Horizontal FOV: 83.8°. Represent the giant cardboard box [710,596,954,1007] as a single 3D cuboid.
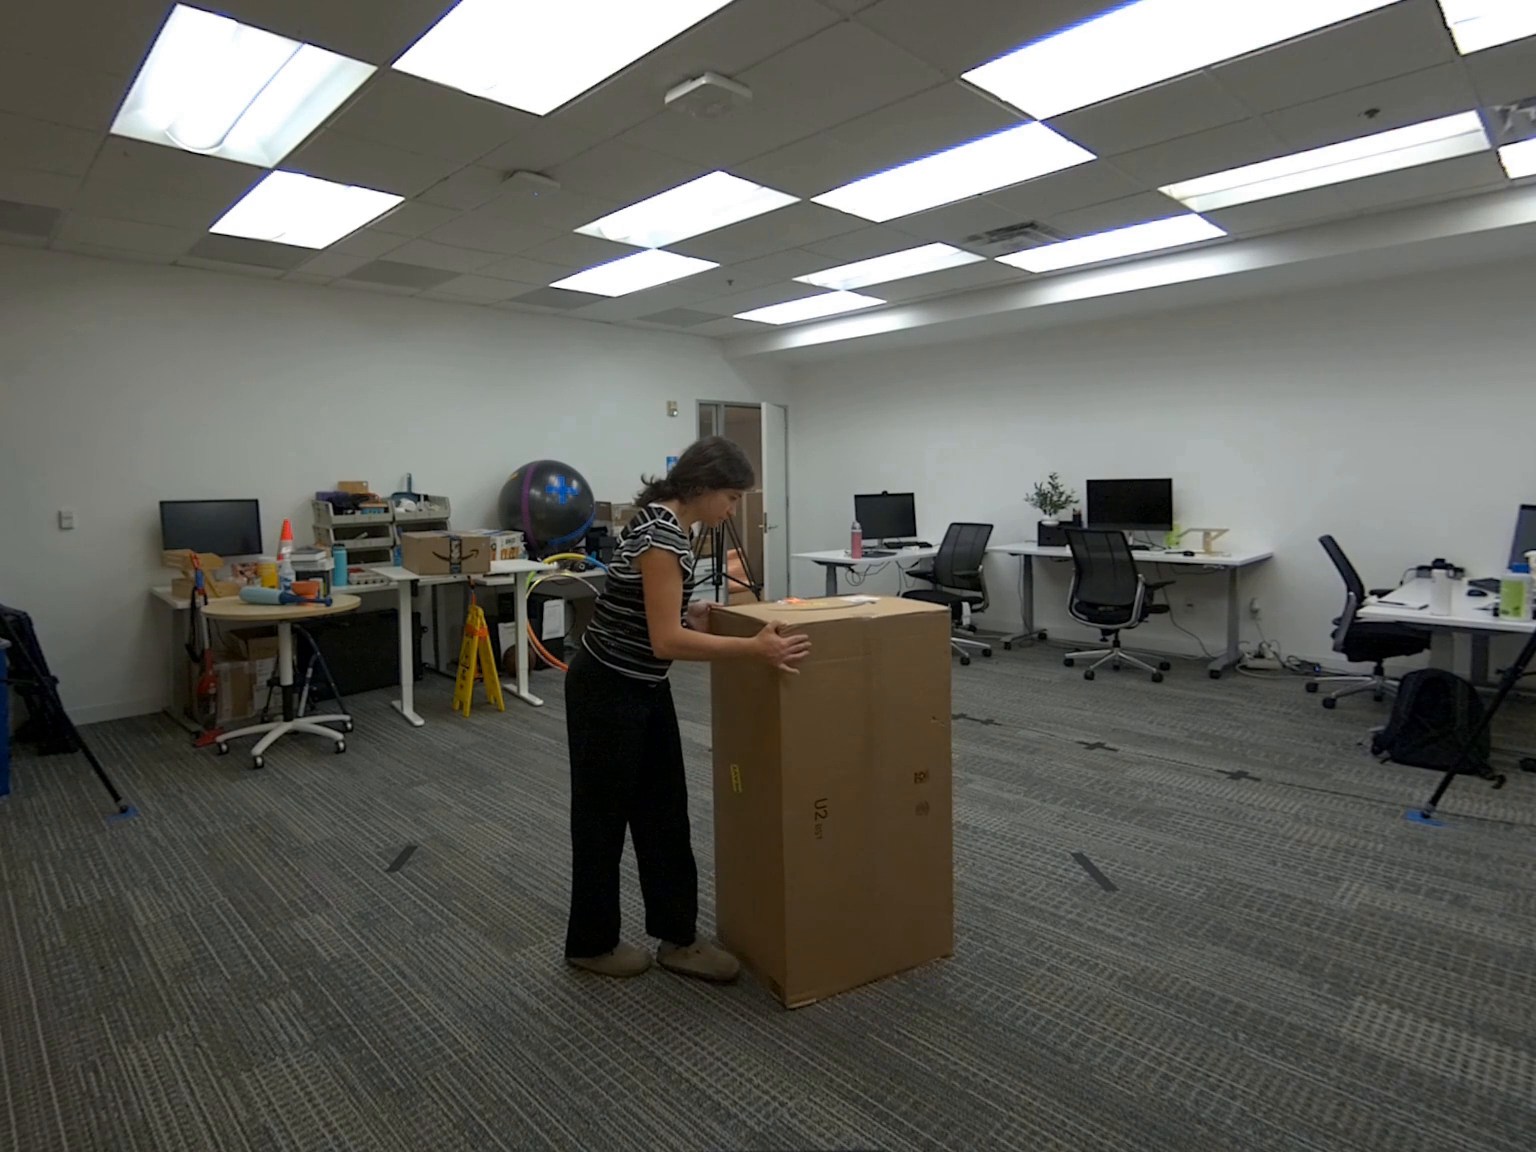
[{"bbox_3d":[0.191,0.603,2.529,0.565,1.022,0.437,-3,5,-27],"label":"giant cardboard box"}]
